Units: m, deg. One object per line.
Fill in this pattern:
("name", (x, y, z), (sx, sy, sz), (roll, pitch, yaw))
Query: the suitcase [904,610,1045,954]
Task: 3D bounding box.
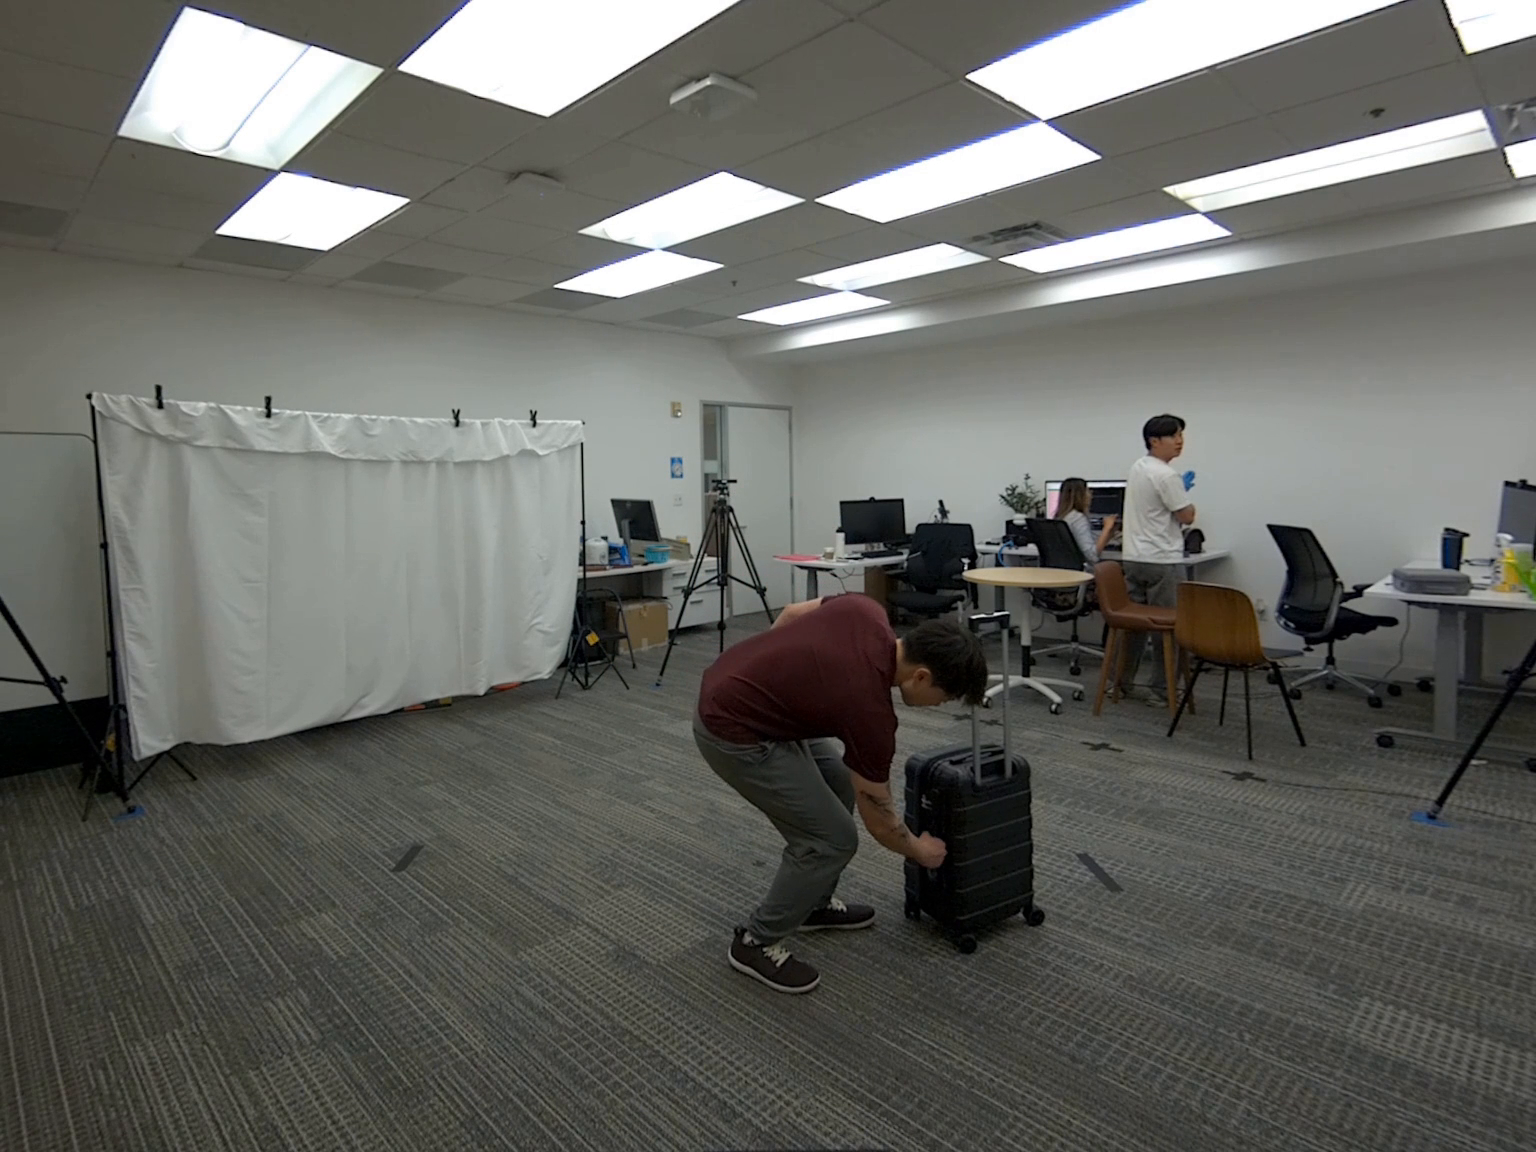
("suitcase", (0.628, 0.607, 2.663), (0.375, 0.978, 0.263), (-4, 1, -29))
